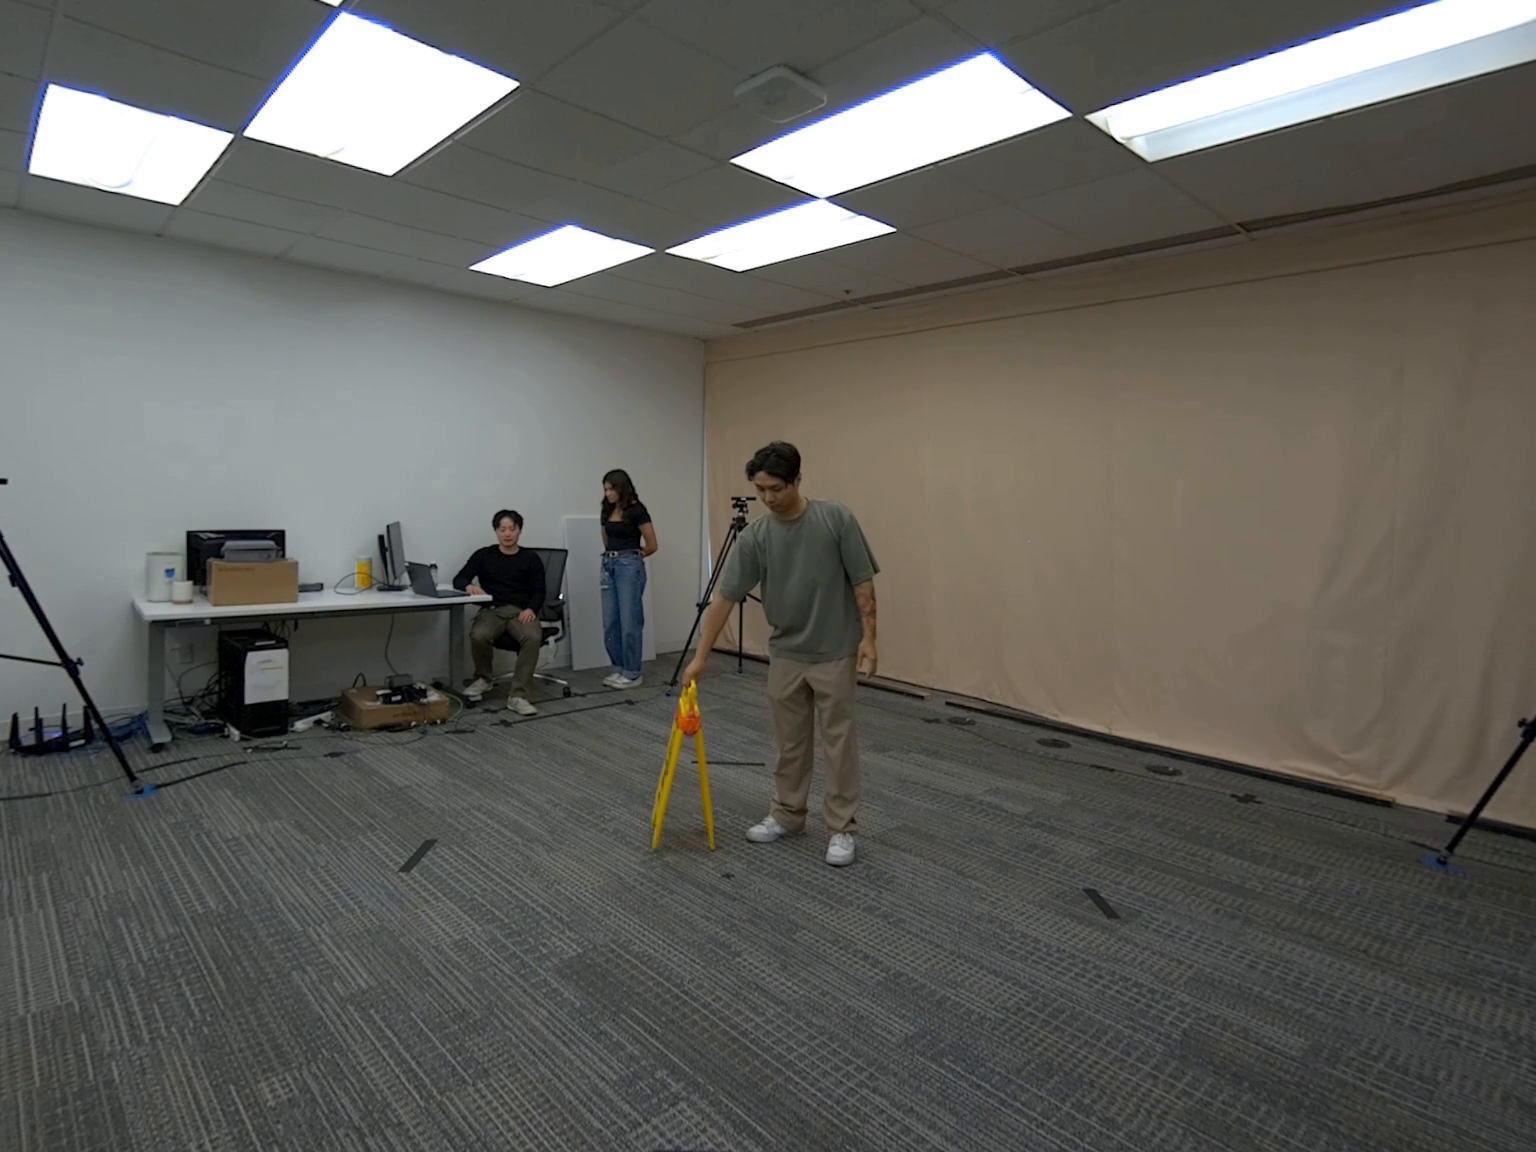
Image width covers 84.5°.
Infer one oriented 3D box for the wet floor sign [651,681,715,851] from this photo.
[{"bbox_3d":[-0.339,0.724,3.383,0.288,0.643,0.285,2,6,-8],"label":"wet floor sign"}]
